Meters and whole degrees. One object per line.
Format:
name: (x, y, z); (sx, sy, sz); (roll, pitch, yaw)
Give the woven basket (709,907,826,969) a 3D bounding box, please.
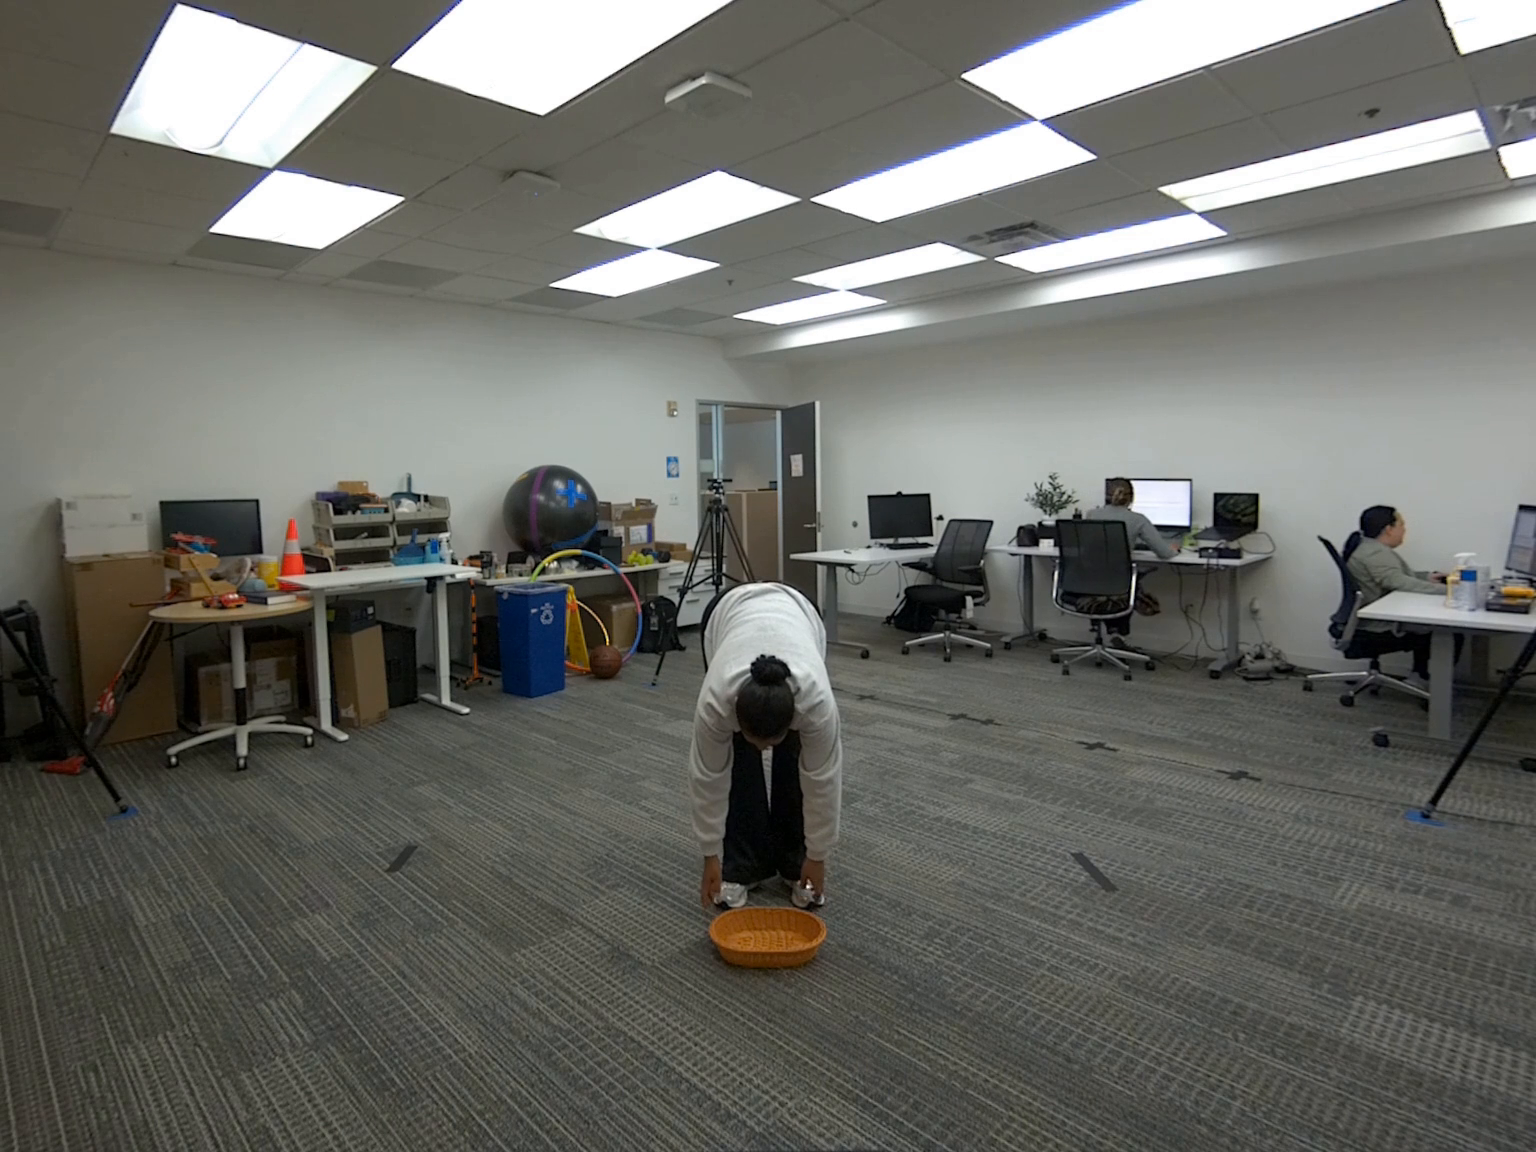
woven basket: (-0.003, 1.075, 2.530); (0.352, 0.073, 0.252); (-1, 6, 4)
